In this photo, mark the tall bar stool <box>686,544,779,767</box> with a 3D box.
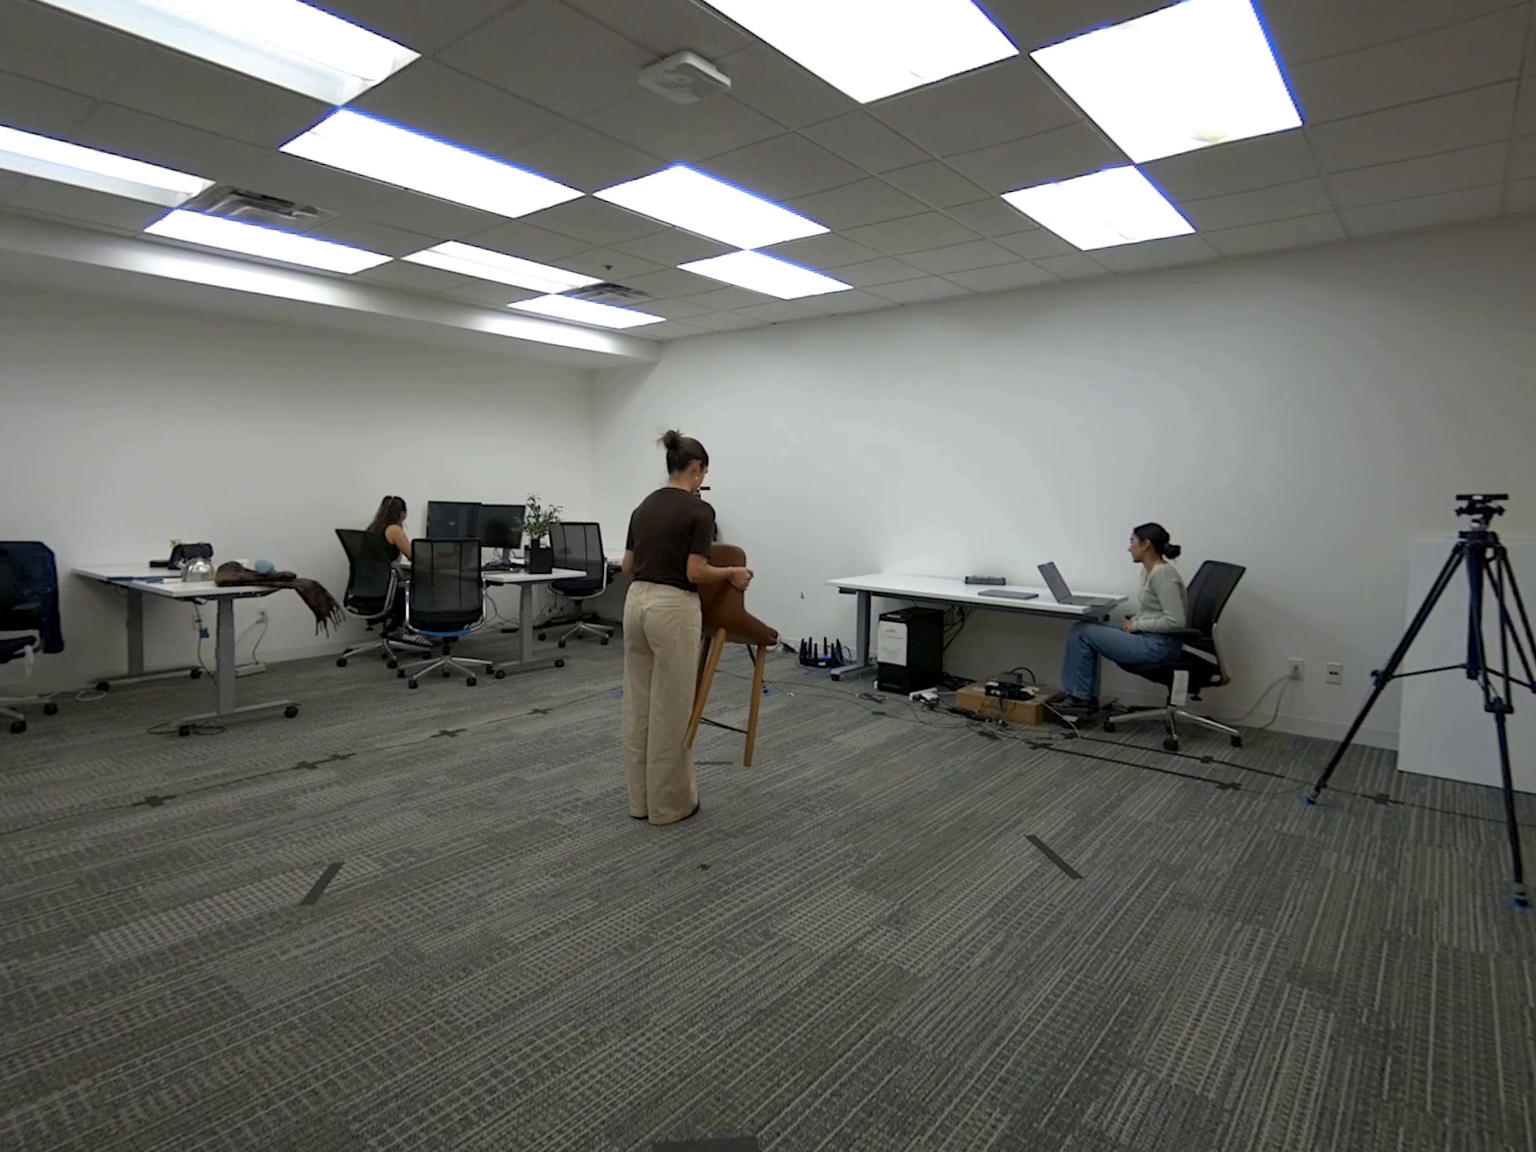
[{"bbox_3d":[-0.265,0.340,3.803,0.471,0.898,0.448,3,-16,37],"label":"tall bar stool"}]
